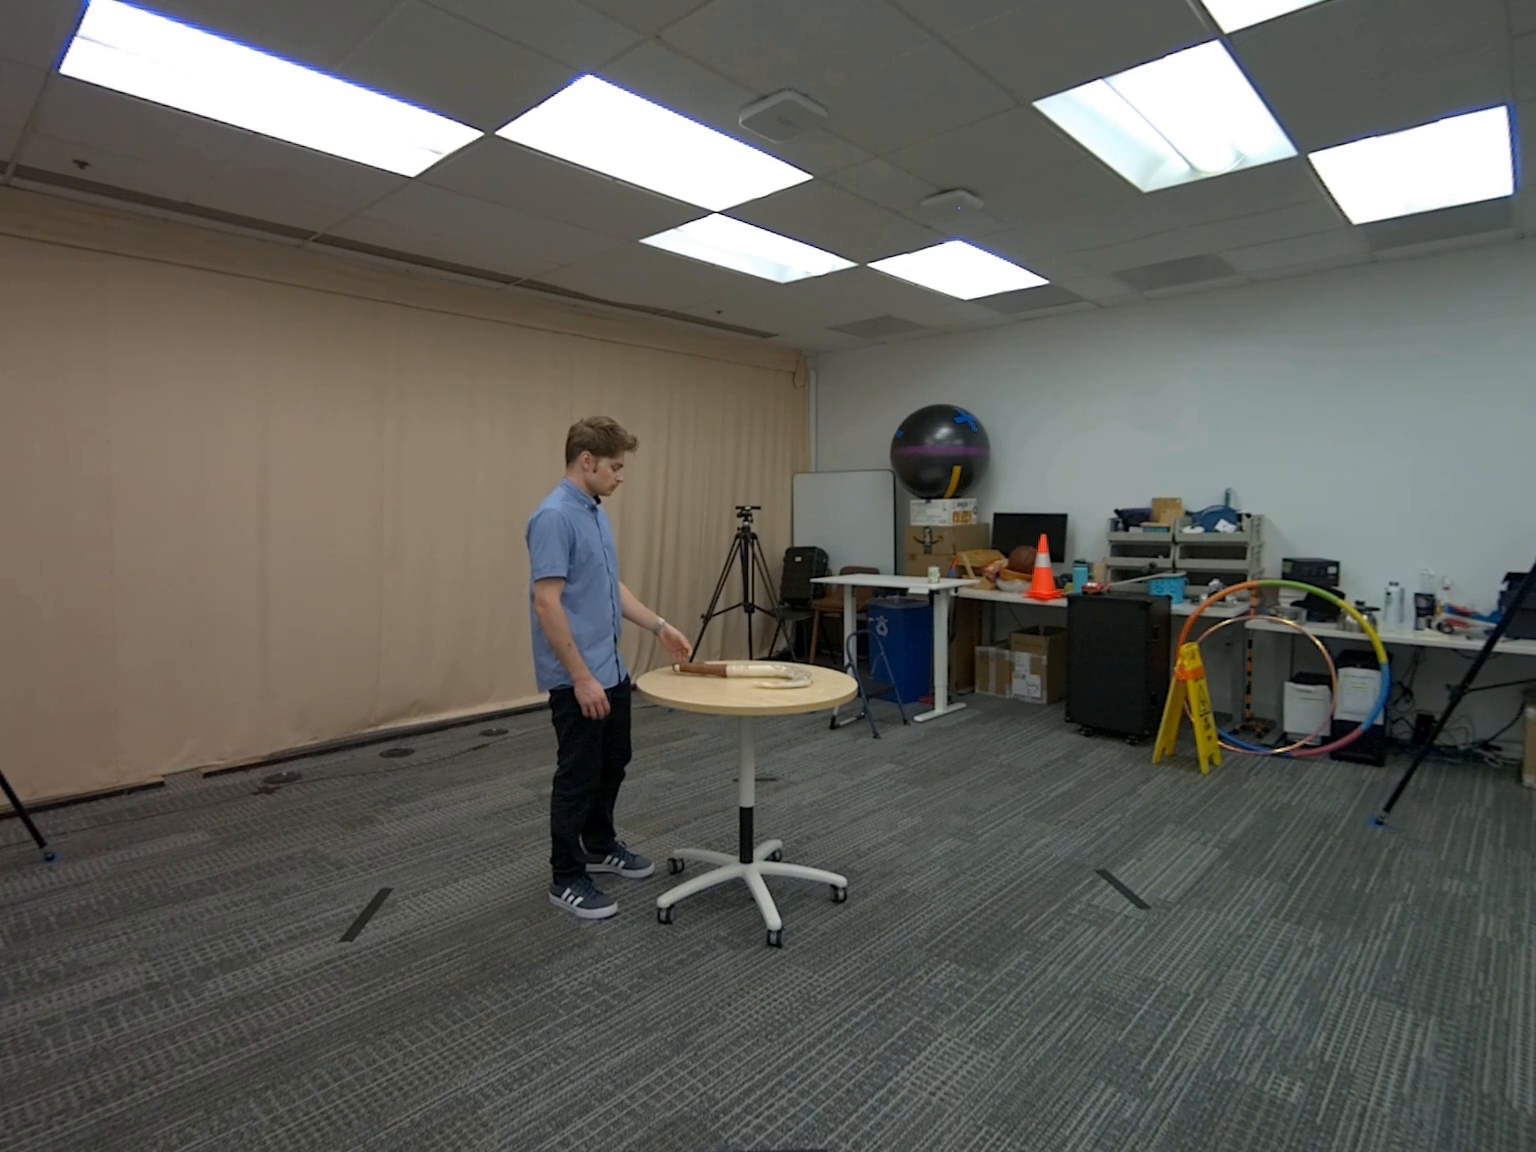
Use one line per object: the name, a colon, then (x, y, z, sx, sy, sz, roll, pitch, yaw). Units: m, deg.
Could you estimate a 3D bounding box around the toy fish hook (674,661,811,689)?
toy fish hook: (-0.098, 0.341, 2.926, 0.513, 0.048, 0.222, 2, 1, 10)
